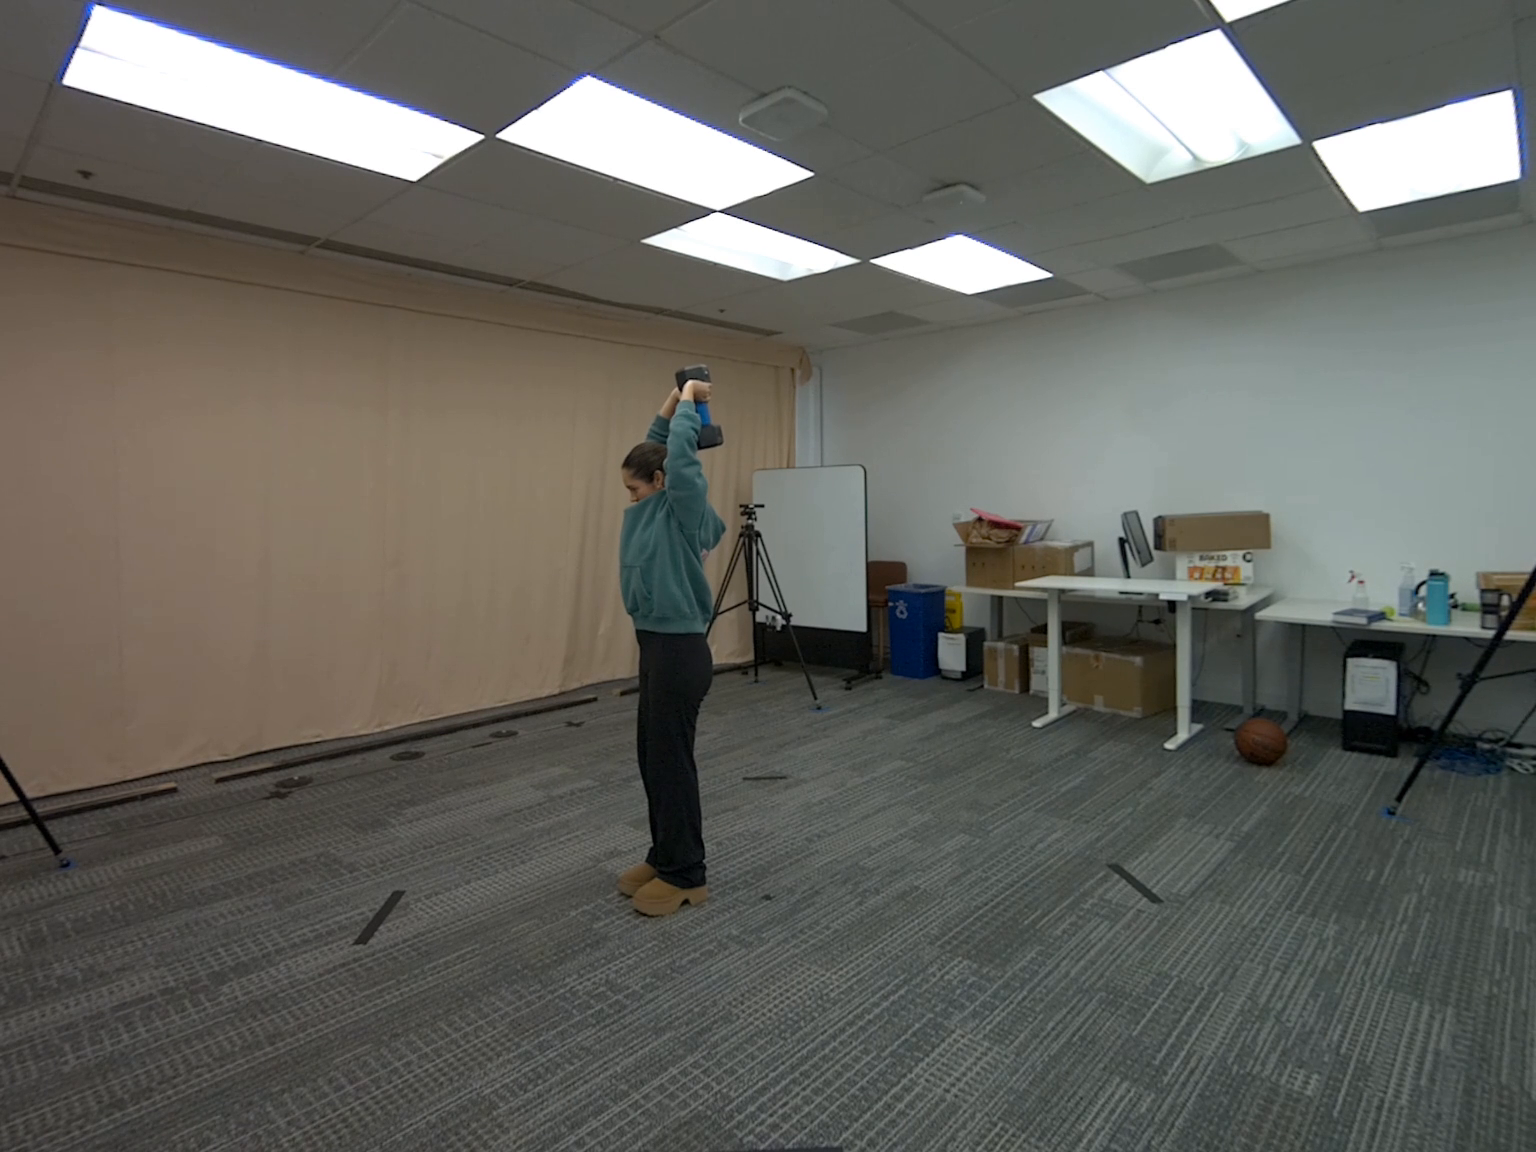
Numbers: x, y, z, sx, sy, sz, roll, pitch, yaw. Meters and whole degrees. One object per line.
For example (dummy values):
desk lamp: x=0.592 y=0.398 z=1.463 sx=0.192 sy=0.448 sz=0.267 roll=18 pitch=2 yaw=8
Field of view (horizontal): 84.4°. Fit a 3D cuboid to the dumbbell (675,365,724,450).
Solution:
dumbbell: x=-0.246 y=-0.597 z=2.994 sx=0.122 sy=0.292 sz=0.110 roll=-15 pitch=4 yaw=-11
